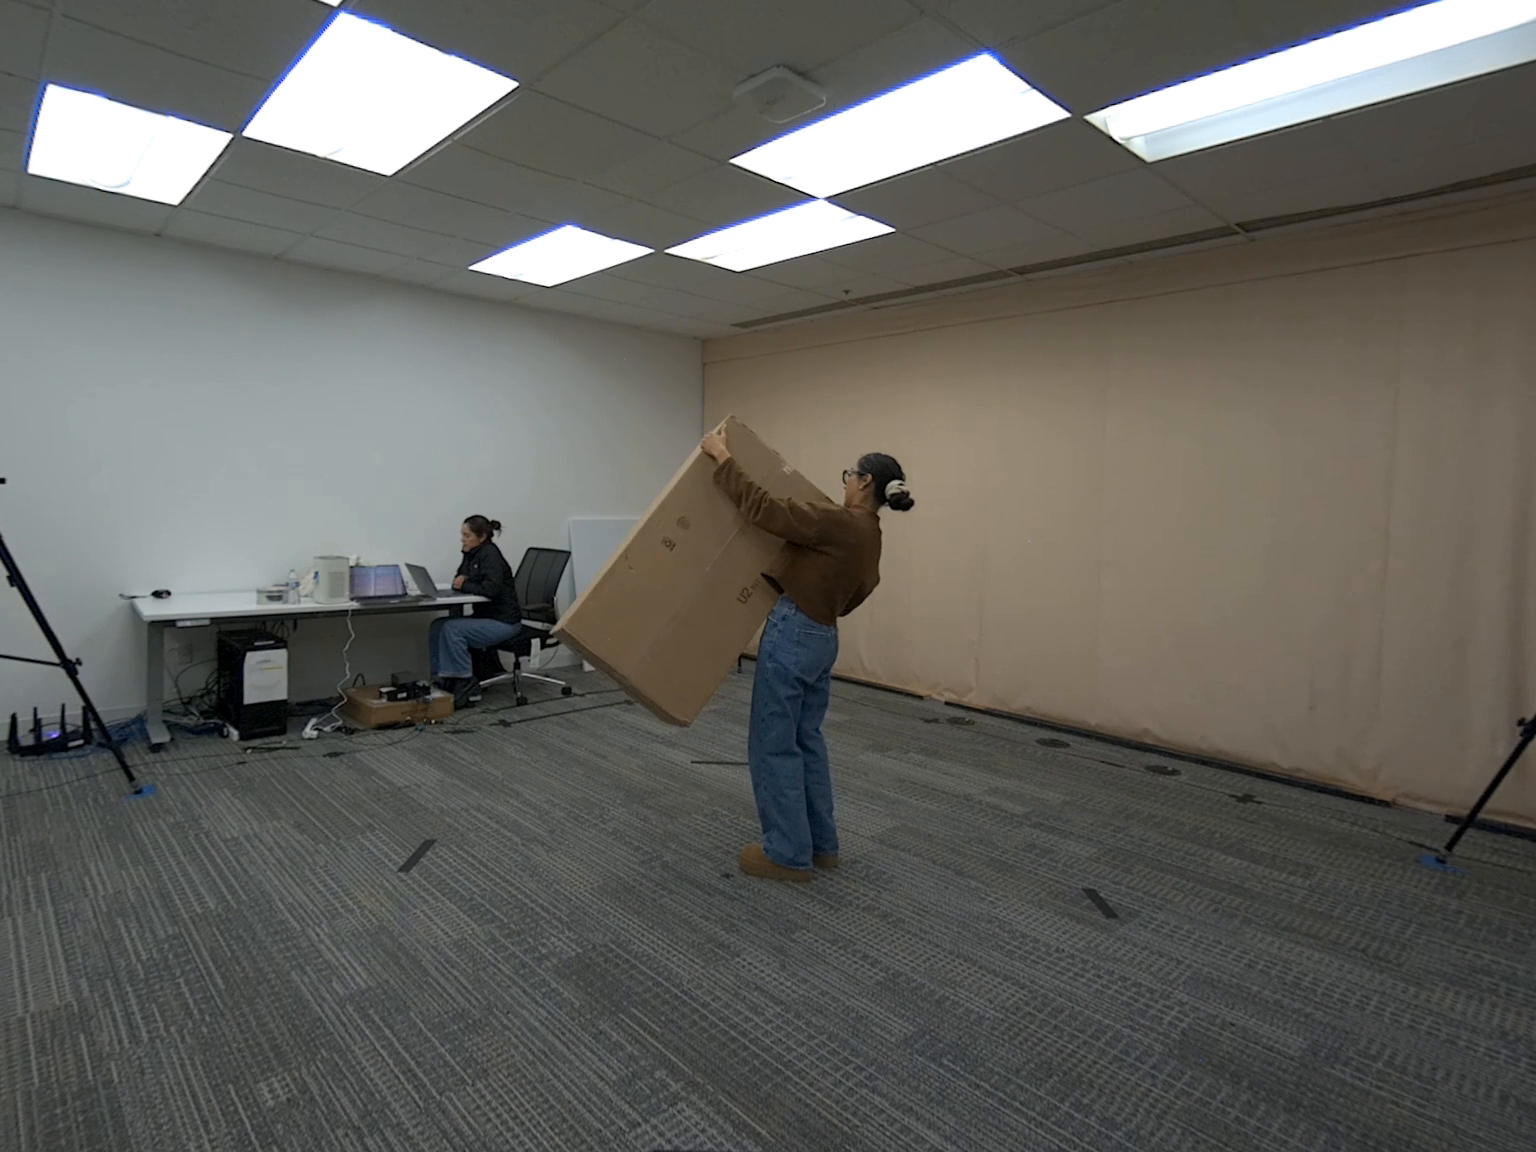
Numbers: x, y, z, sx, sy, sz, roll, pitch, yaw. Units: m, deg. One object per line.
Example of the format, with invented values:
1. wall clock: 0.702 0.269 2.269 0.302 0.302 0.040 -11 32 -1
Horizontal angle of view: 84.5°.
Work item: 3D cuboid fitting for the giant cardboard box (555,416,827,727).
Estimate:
1. giant cardboard box: -0.289 -0.017 3.264 0.572 1.028 0.429 39 -17 -9
